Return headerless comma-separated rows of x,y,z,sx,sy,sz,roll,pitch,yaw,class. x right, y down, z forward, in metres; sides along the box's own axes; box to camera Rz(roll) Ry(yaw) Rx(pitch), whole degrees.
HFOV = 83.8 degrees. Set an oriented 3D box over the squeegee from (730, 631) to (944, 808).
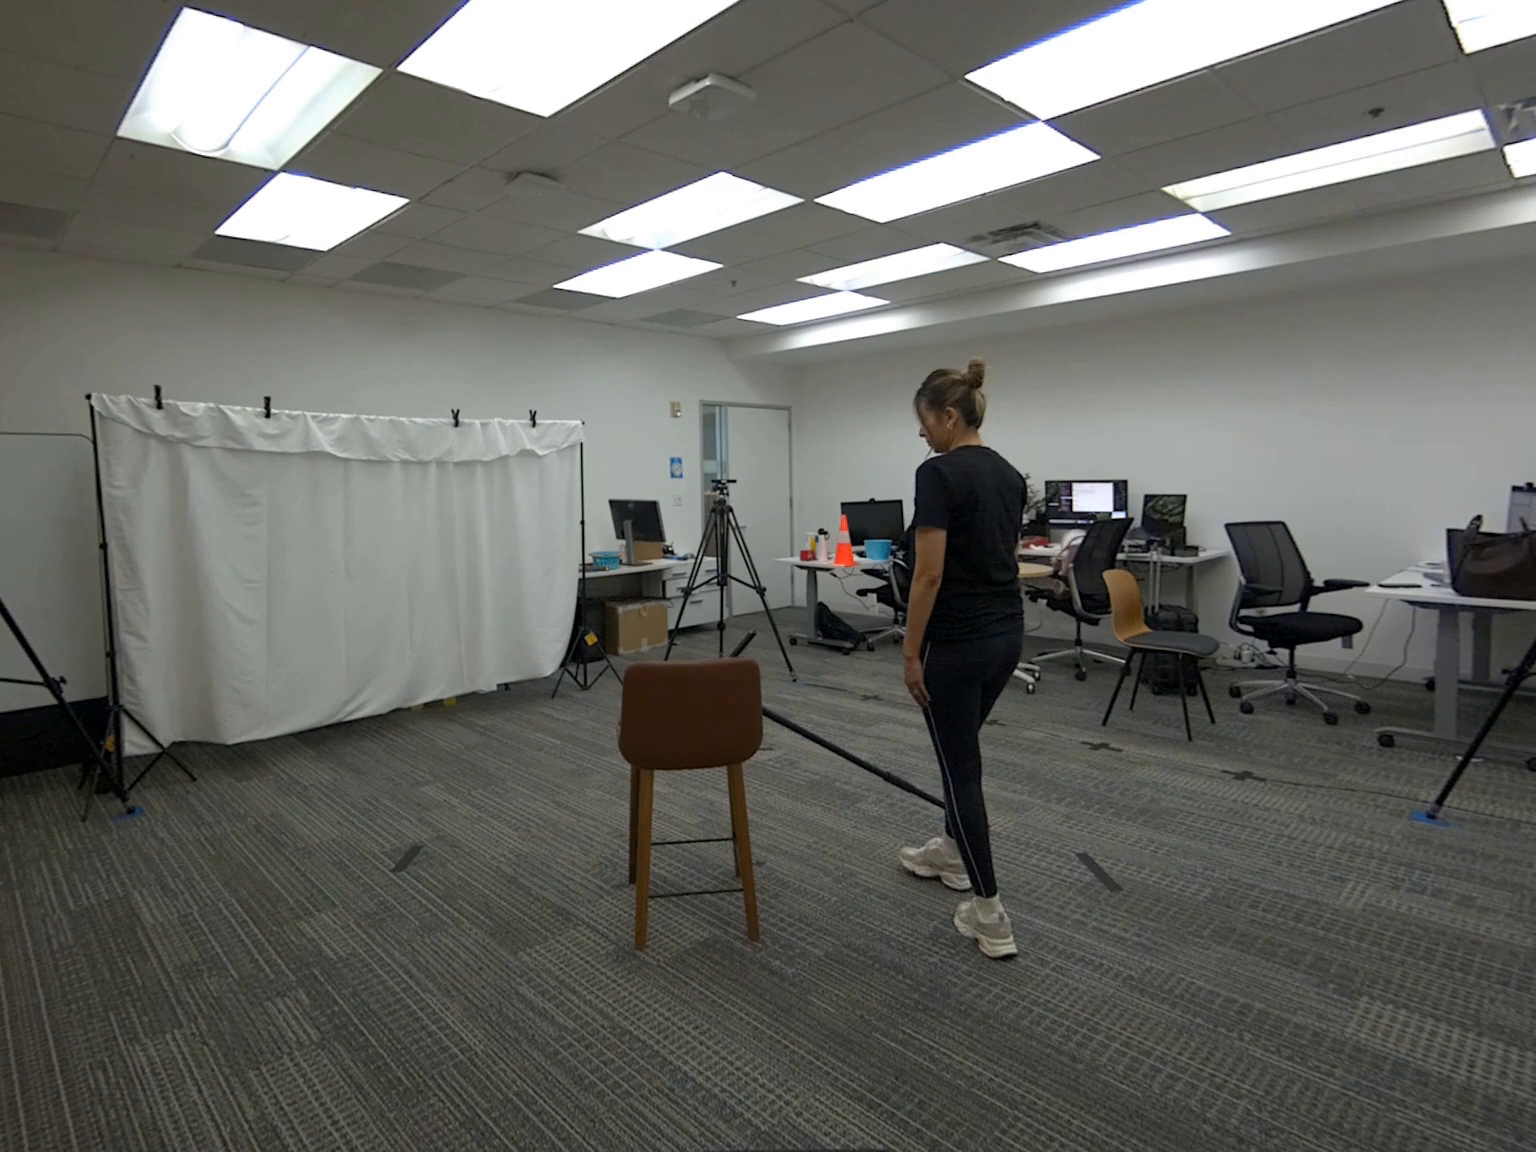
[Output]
0.313,0.636,2.991,1.484,0.437,0.055,32,7,-33,squeegee
